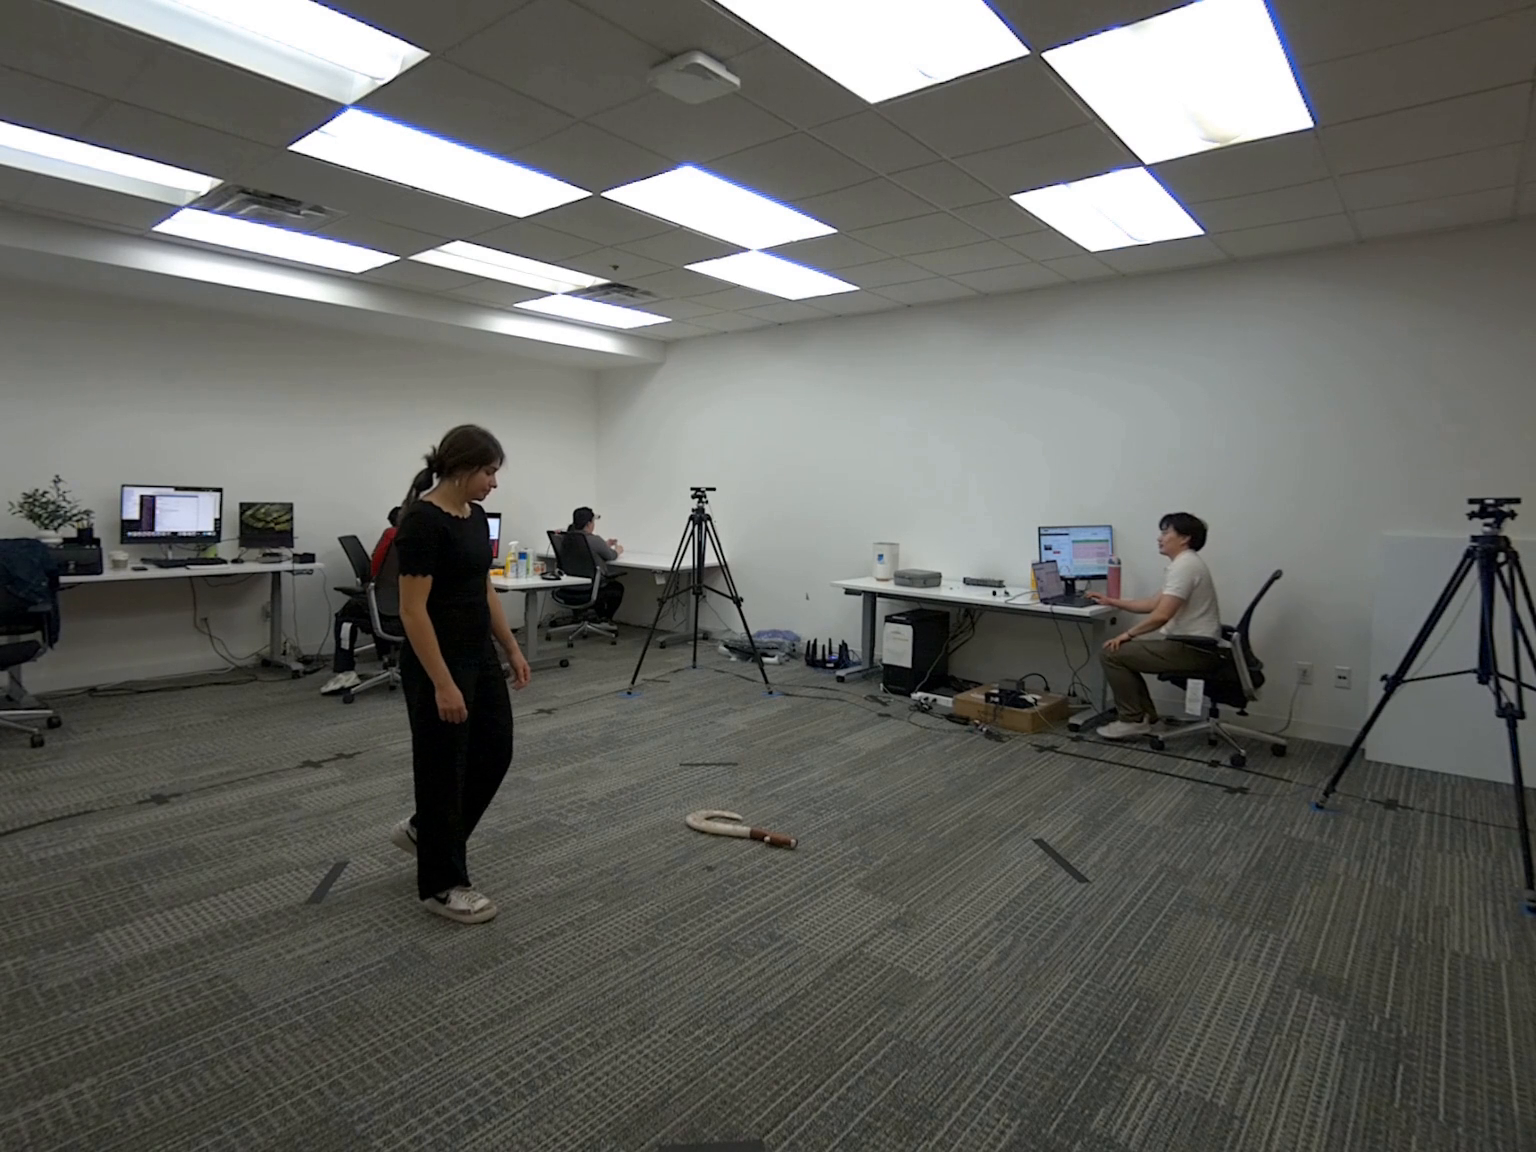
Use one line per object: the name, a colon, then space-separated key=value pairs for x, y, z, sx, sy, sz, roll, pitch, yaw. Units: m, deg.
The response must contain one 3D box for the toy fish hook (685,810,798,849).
toy fish hook: x=-0.102 y=1.012 z=3.451 sx=0.521 sy=0.048 sz=0.219 roll=4 pitch=7 yaw=28
